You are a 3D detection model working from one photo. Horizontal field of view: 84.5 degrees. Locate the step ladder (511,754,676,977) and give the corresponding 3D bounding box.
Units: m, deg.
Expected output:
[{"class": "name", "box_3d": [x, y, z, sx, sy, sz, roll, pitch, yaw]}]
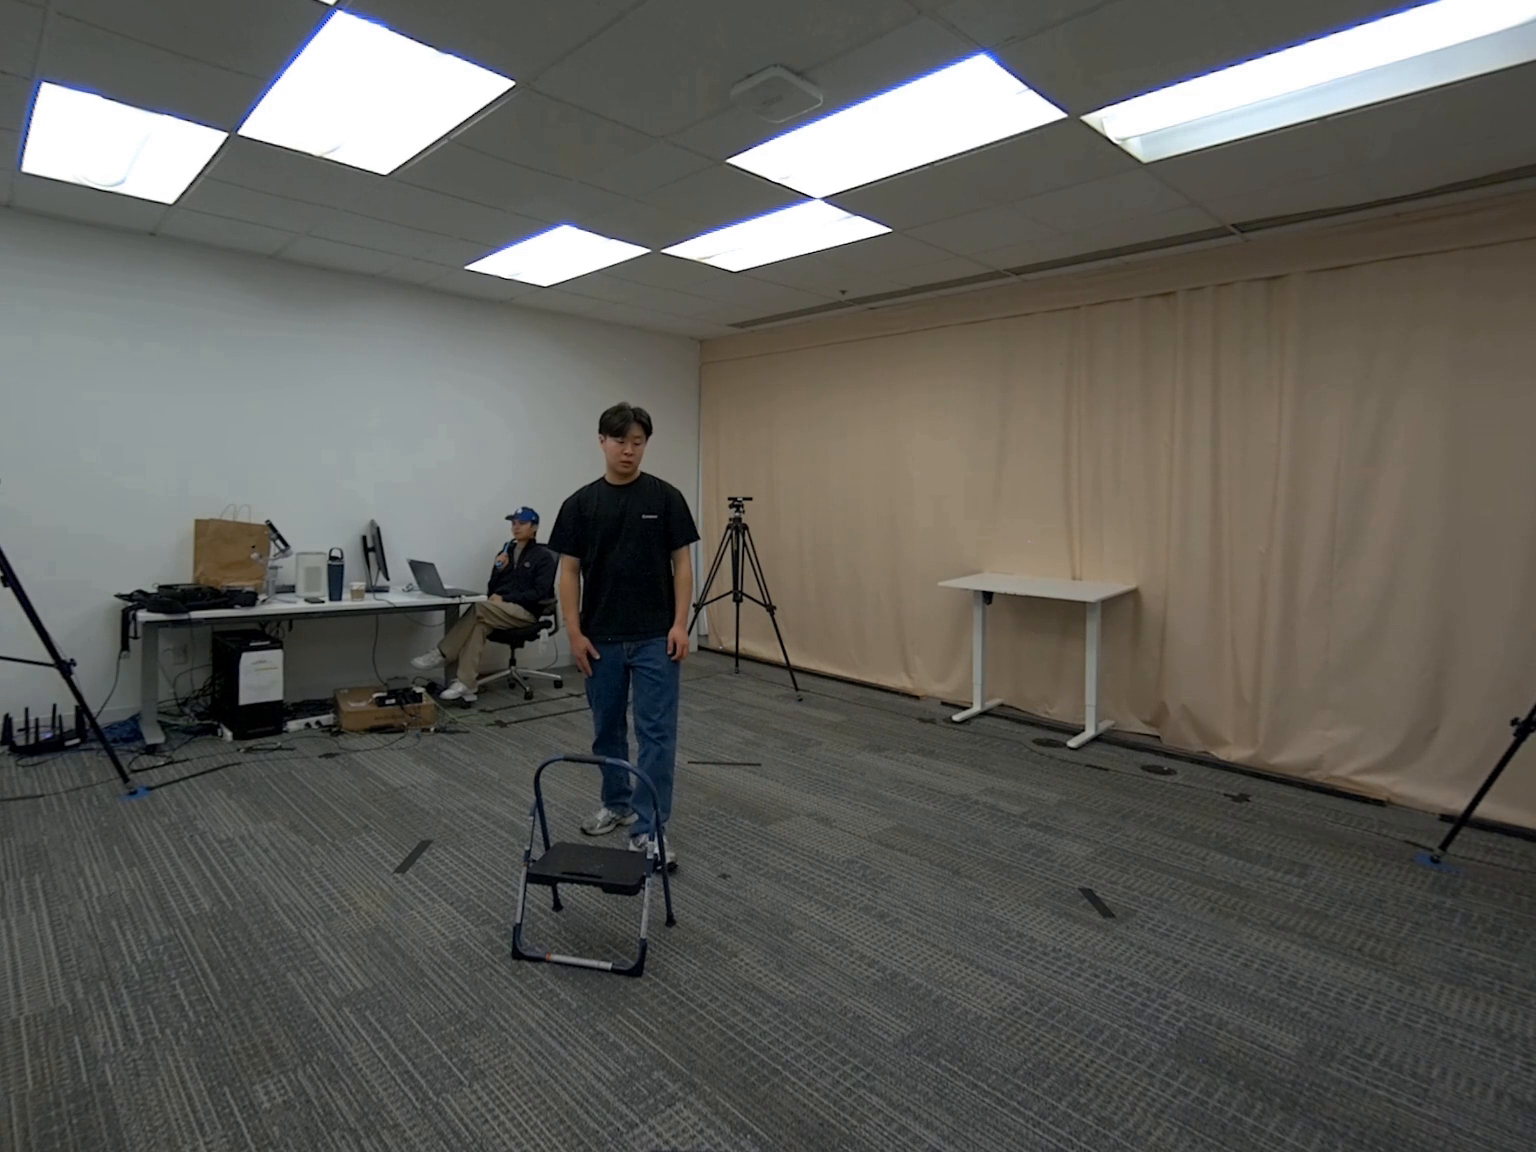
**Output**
[{"class": "step ladder", "box_3d": [-0.539, 0.844, 2.620, 0.435, 0.604, 0.347, 2, 4, 11]}]
